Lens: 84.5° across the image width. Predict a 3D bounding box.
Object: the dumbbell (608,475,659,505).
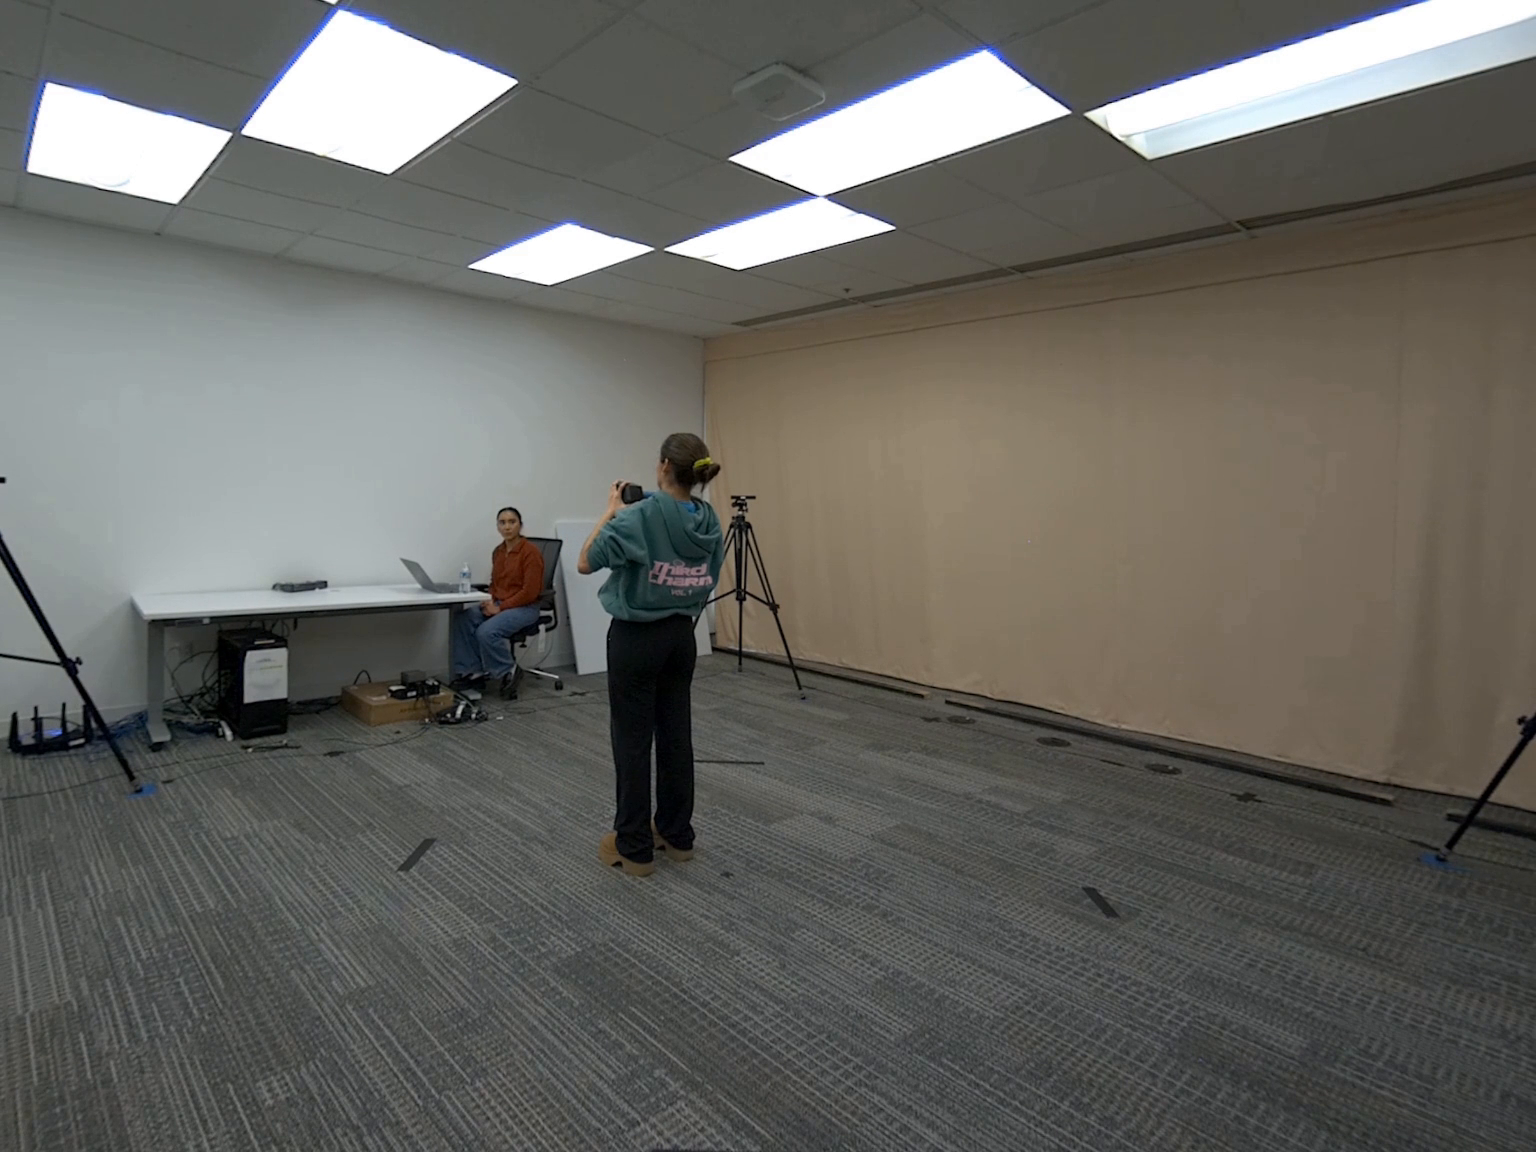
[{"bbox_3d":[-0.445,-0.290,3.202,0.110,0.124,0.286,-25,-18,38],"label":"dumbbell"}]
